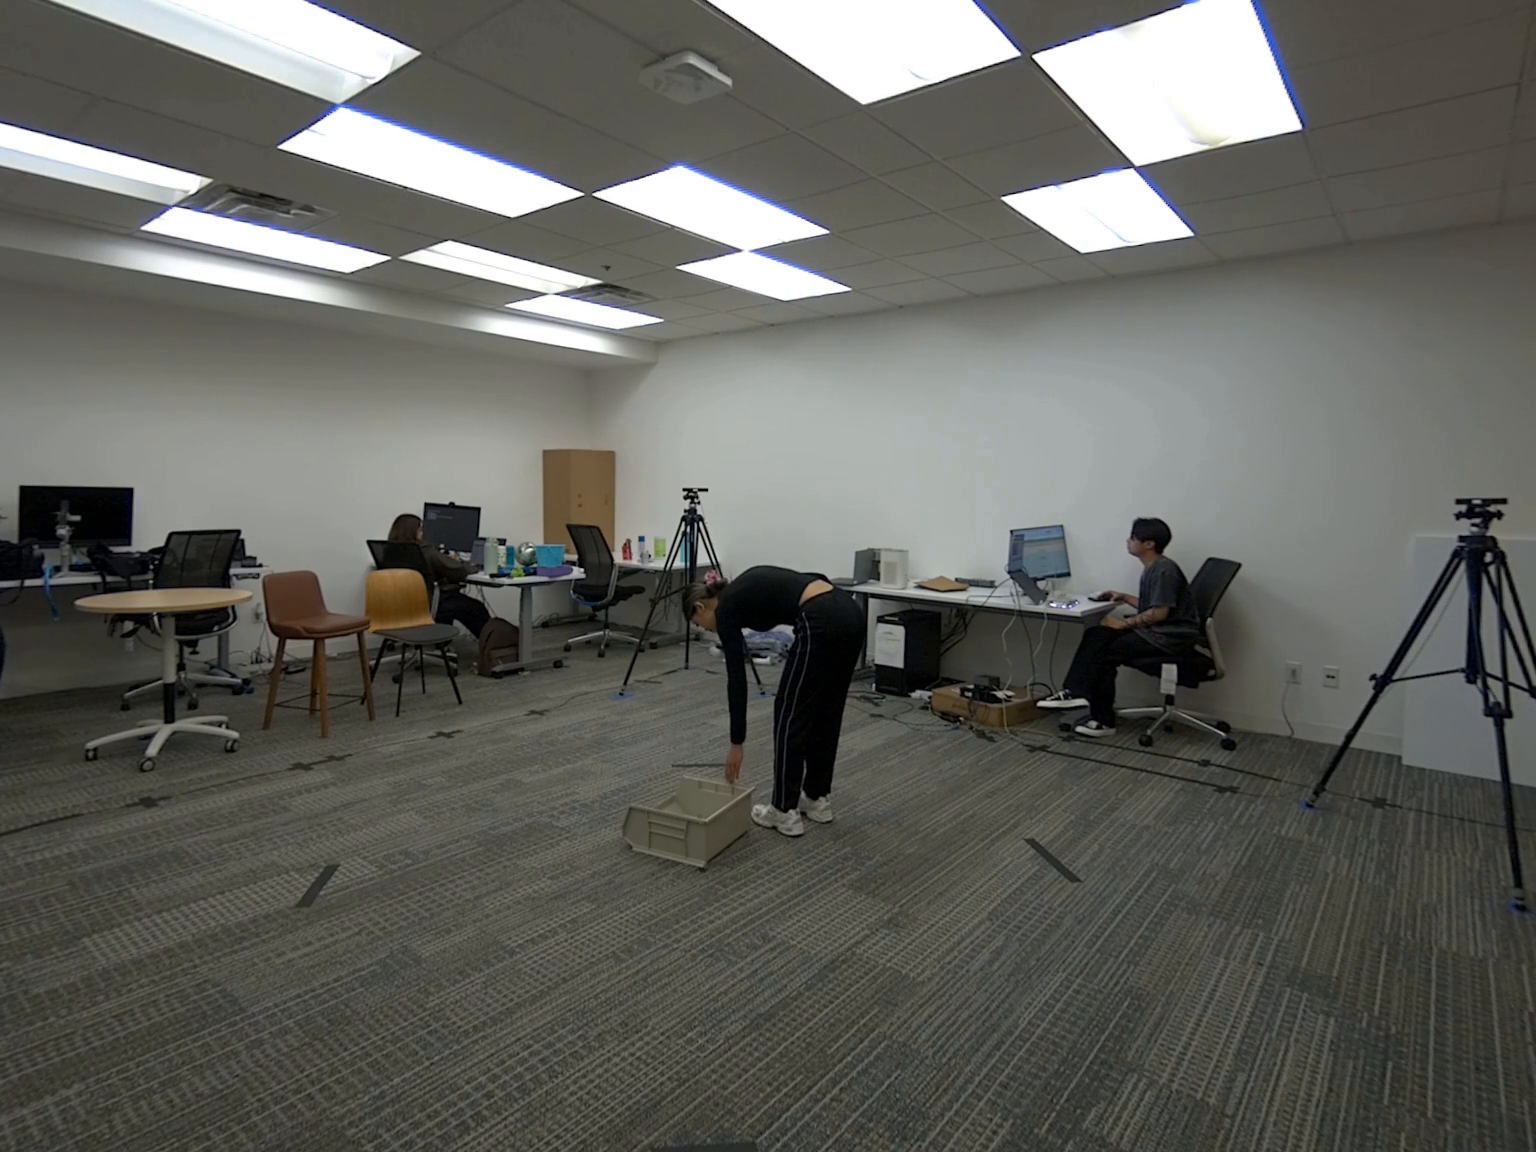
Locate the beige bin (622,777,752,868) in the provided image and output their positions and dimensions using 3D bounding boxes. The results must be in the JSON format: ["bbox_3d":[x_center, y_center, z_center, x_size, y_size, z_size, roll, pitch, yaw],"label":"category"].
[{"bbox_3d":[-0.319,0.956,3.375,0.388,0.188,0.412,4,6,26],"label":"beige bin"}]
